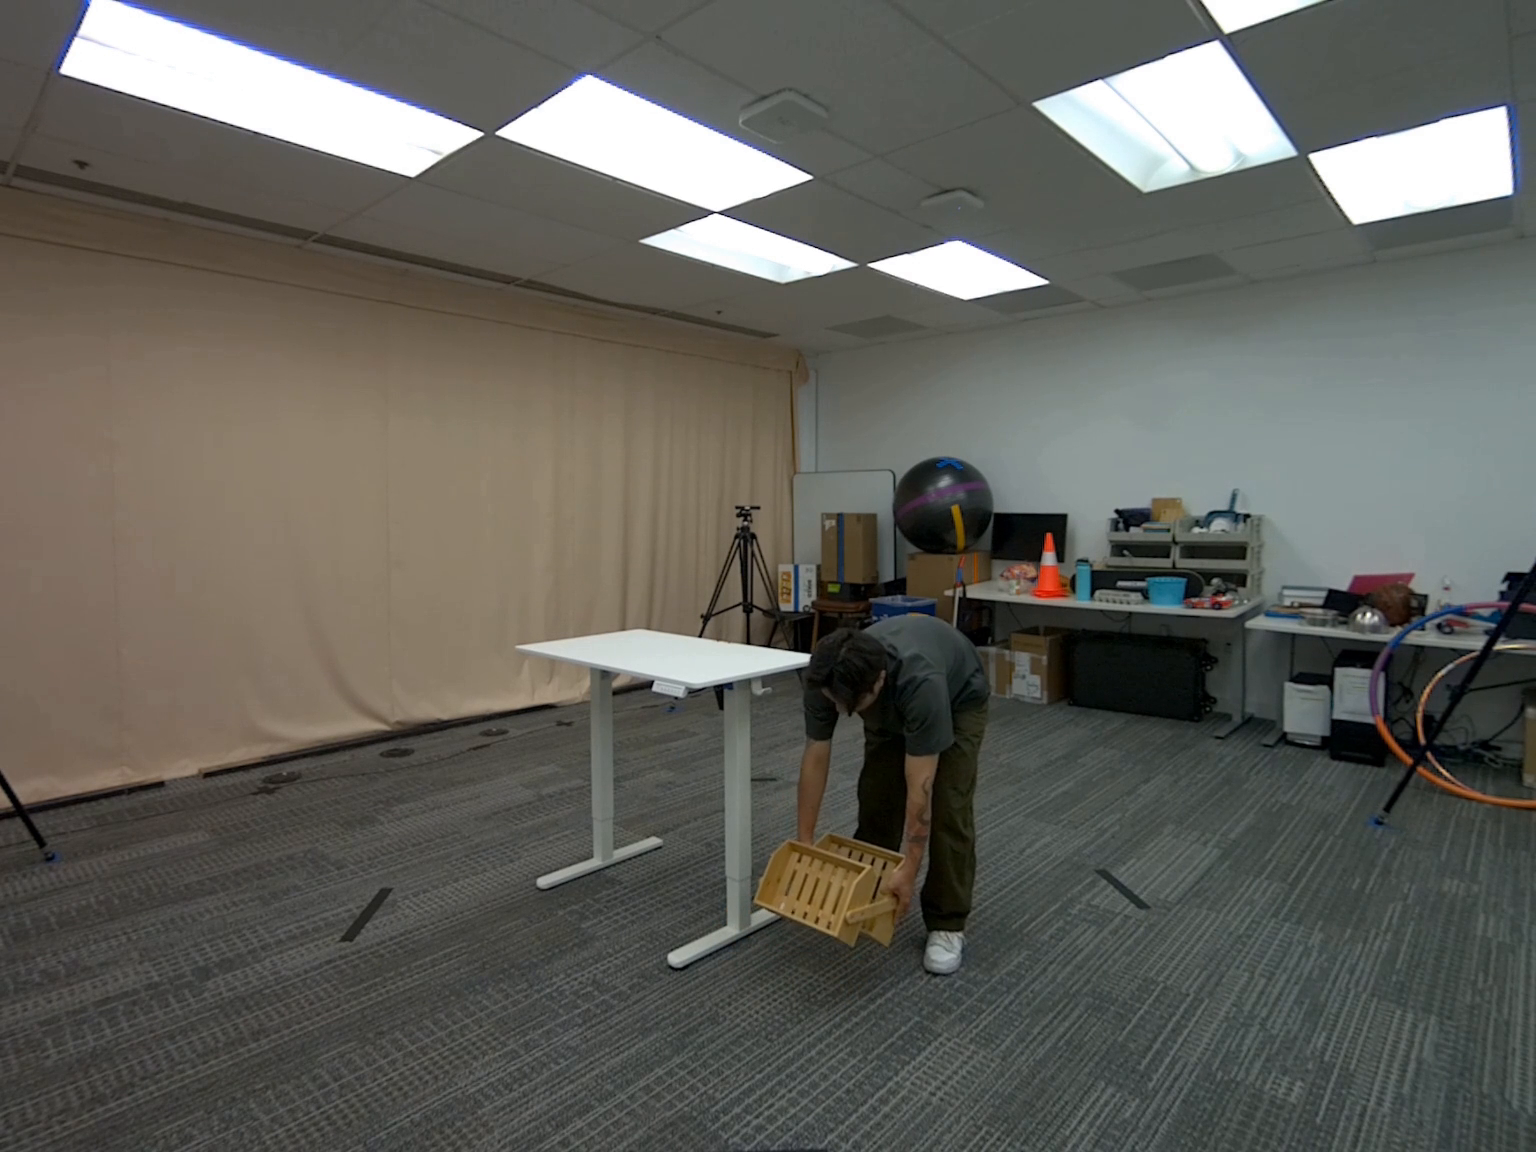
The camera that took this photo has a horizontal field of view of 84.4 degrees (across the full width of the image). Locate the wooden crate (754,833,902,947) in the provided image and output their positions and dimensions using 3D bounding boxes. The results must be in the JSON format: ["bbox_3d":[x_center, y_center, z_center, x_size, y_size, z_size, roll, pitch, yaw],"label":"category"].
[{"bbox_3d":[0.204,0.893,2.452,0.335,0.302,0.264,2,-34,43],"label":"wooden crate"}]
